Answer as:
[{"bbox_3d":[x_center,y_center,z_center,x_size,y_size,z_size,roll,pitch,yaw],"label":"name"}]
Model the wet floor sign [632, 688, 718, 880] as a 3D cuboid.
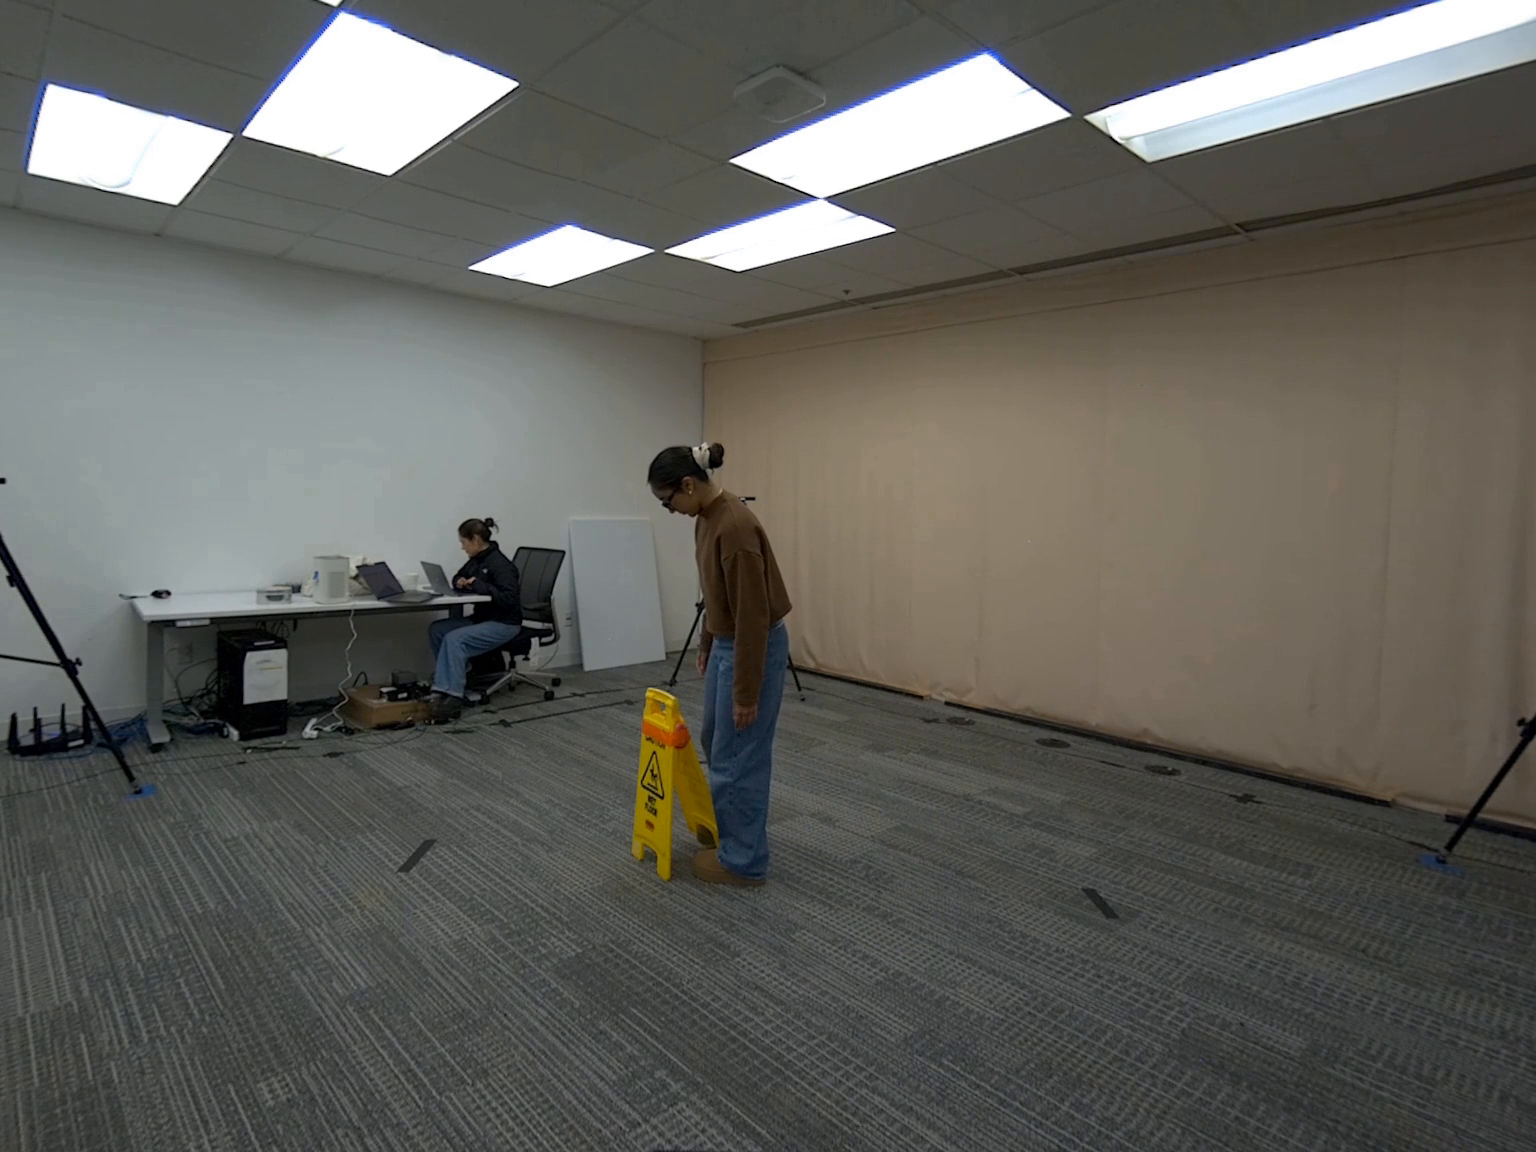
[{"bbox_3d":[-0.375,0.752,3.198,0.284,0.642,0.289,-11,10,-35],"label":"wet floor sign"}]
